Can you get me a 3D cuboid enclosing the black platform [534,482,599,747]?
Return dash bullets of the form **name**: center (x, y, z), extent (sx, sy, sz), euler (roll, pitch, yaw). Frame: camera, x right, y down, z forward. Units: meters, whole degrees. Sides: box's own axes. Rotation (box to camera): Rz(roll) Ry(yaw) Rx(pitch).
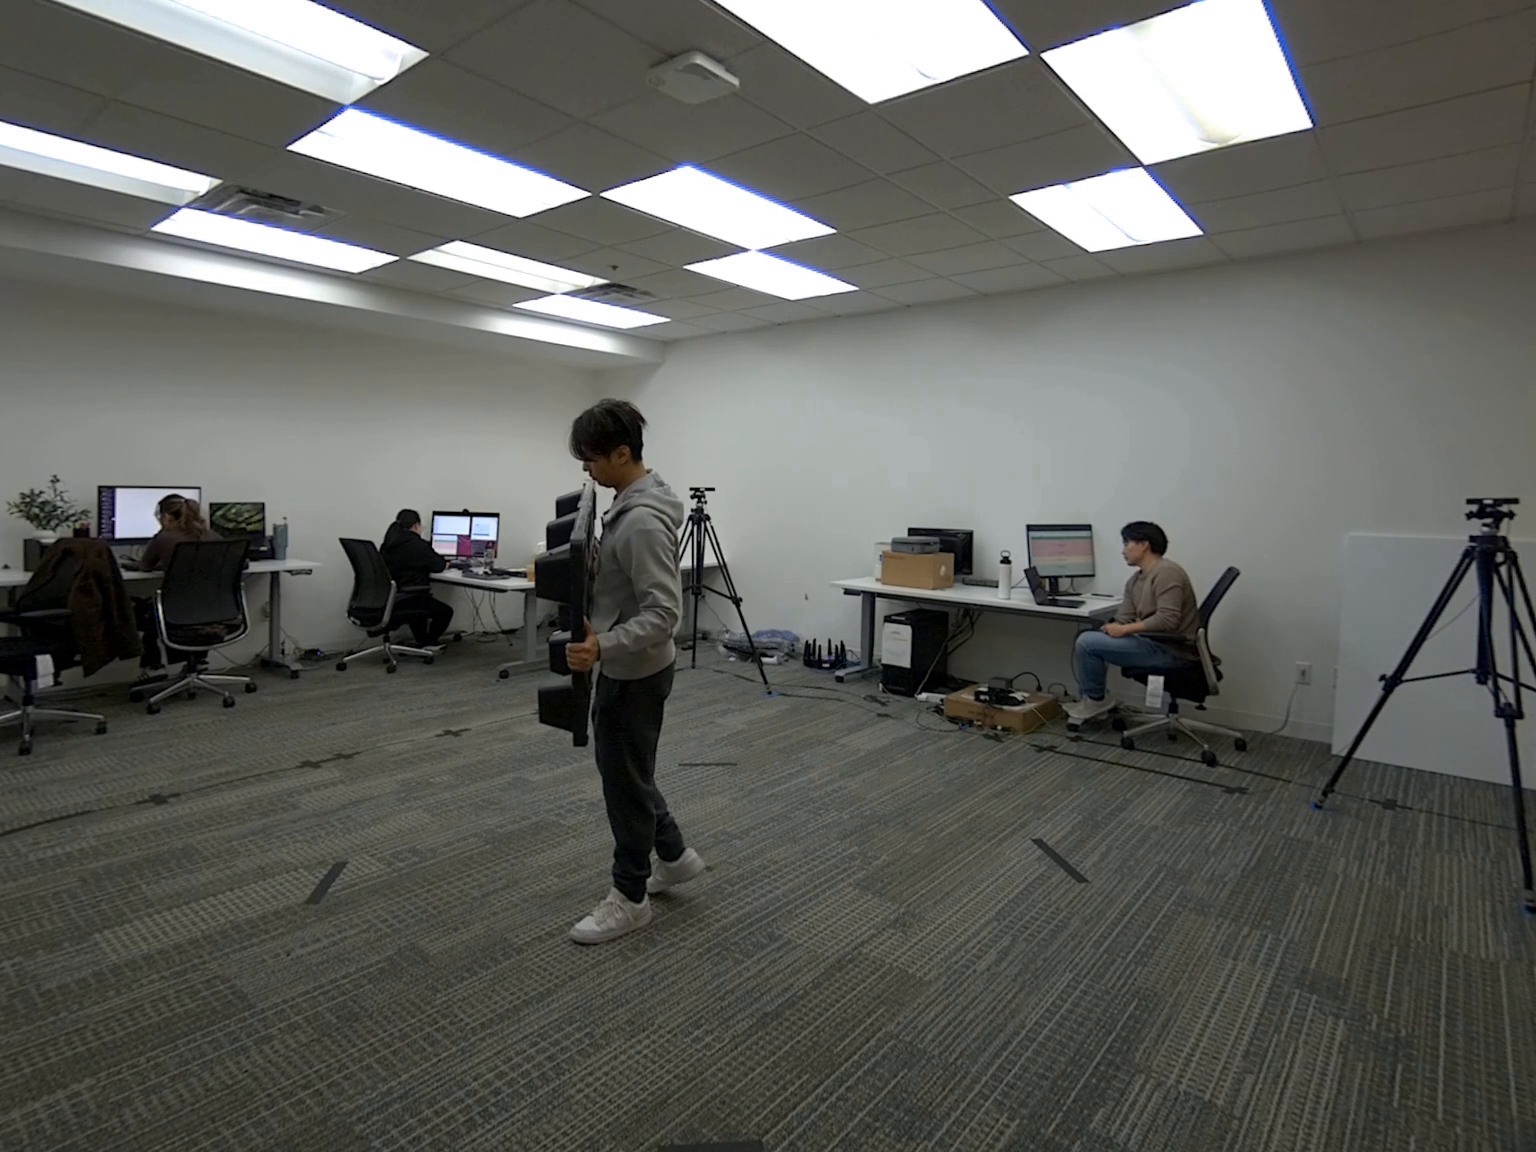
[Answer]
- **black platform**: center (-0.624, 0.069, 2.652), extent (0.142, 0.597, 0.824), euler (1, 16, -9)
